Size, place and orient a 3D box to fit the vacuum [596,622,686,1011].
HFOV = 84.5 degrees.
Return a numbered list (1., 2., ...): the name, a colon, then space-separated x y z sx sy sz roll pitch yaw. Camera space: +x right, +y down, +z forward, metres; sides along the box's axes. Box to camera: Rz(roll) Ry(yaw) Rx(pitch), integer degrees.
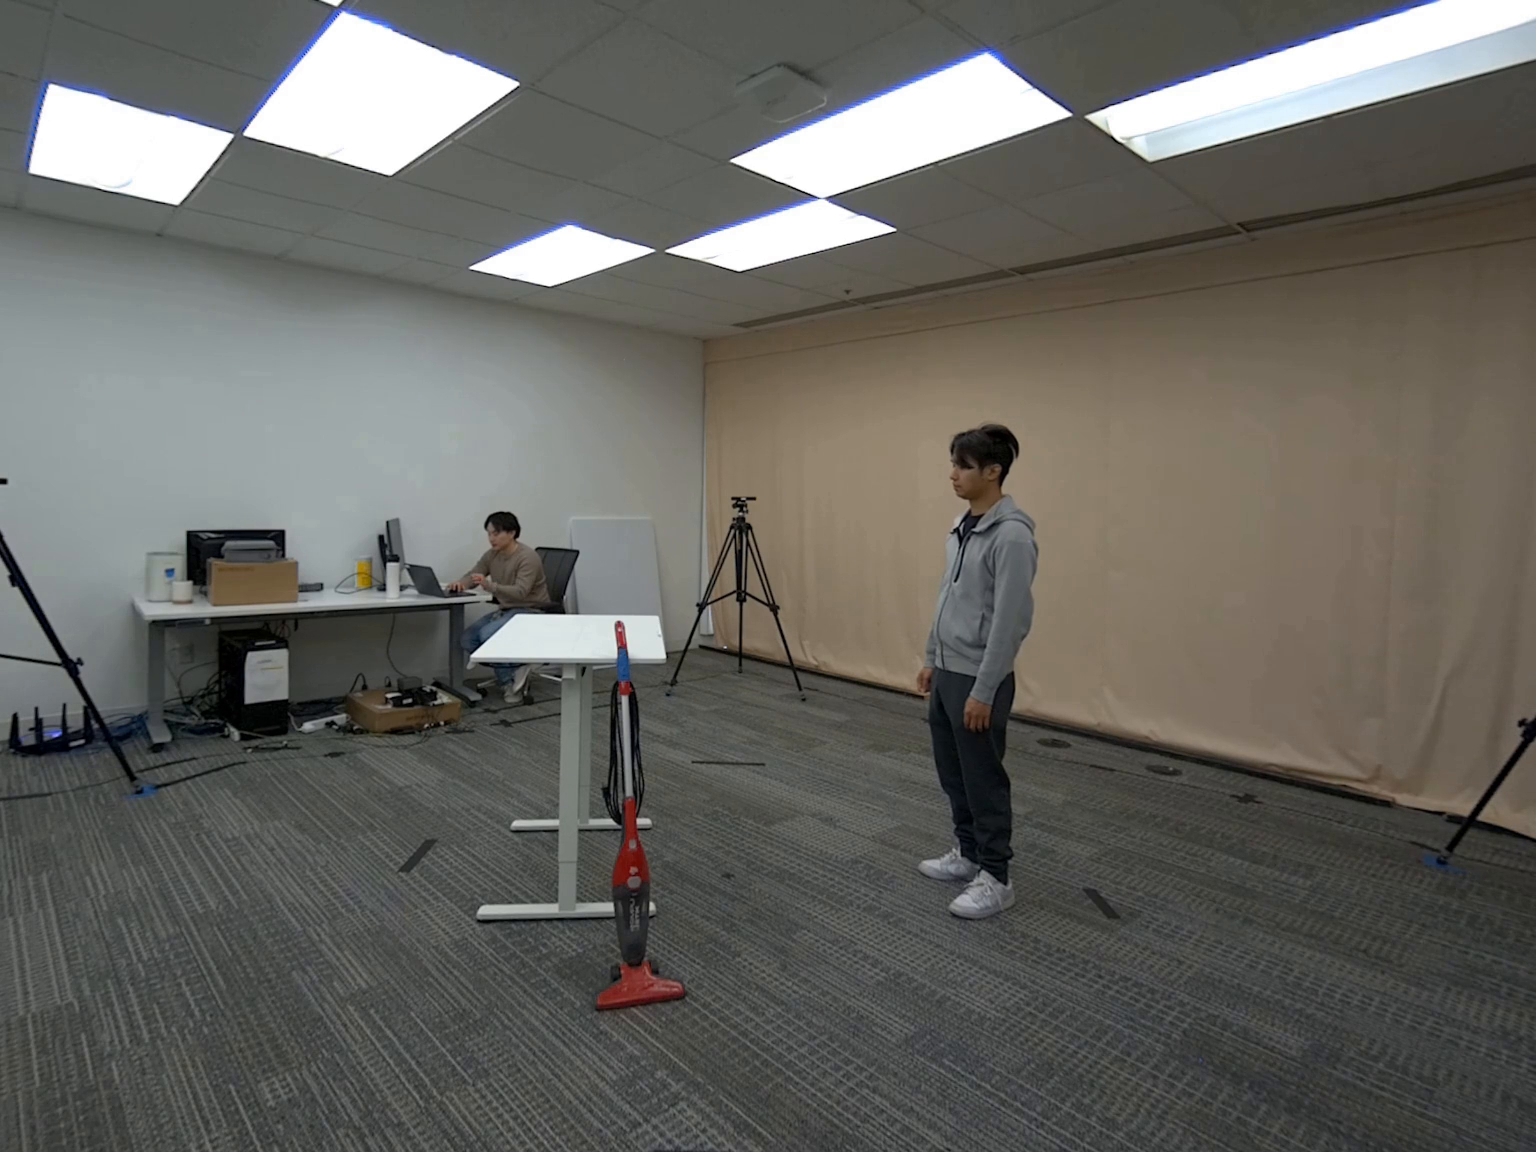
1. vacuum: -0.424 0.668 2.522 0.248 1.064 0.144 2 -19 -22
